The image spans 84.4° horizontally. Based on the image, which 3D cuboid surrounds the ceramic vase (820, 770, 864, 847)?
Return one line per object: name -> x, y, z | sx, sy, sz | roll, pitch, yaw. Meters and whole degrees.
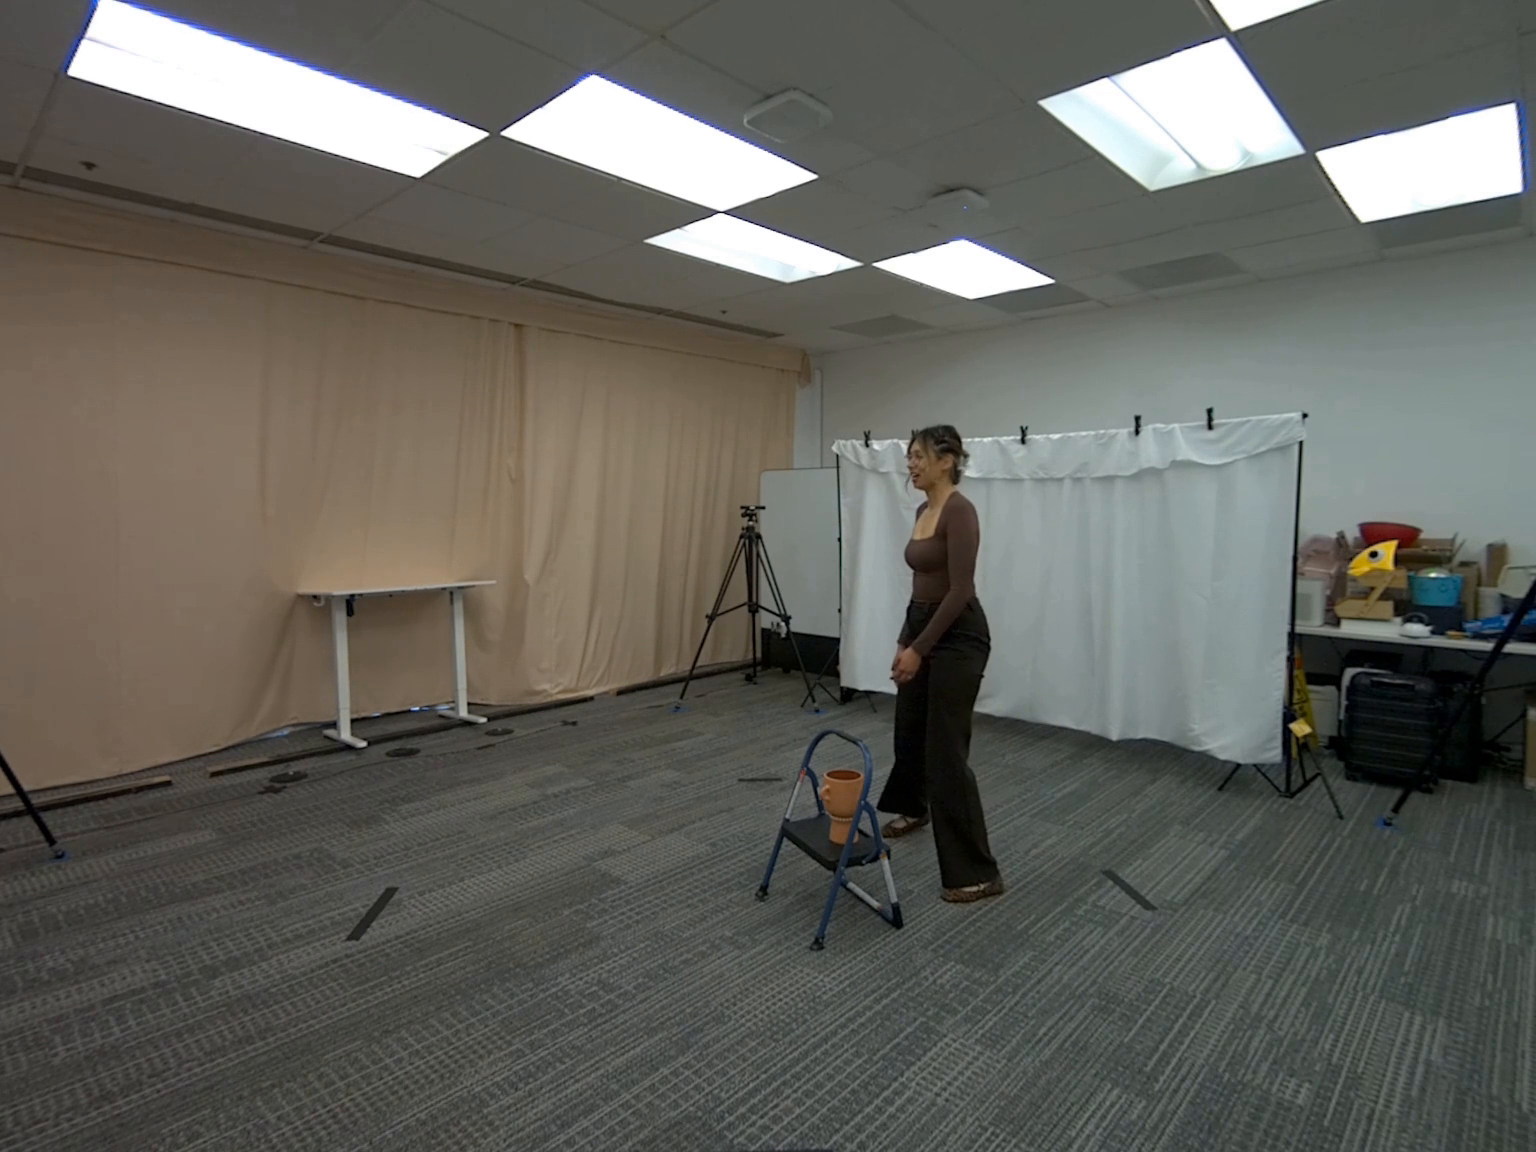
ceramic vase -> 0.260, 0.780, 2.845 | 0.160, 0.219, 0.134 | -1, 4, 5
